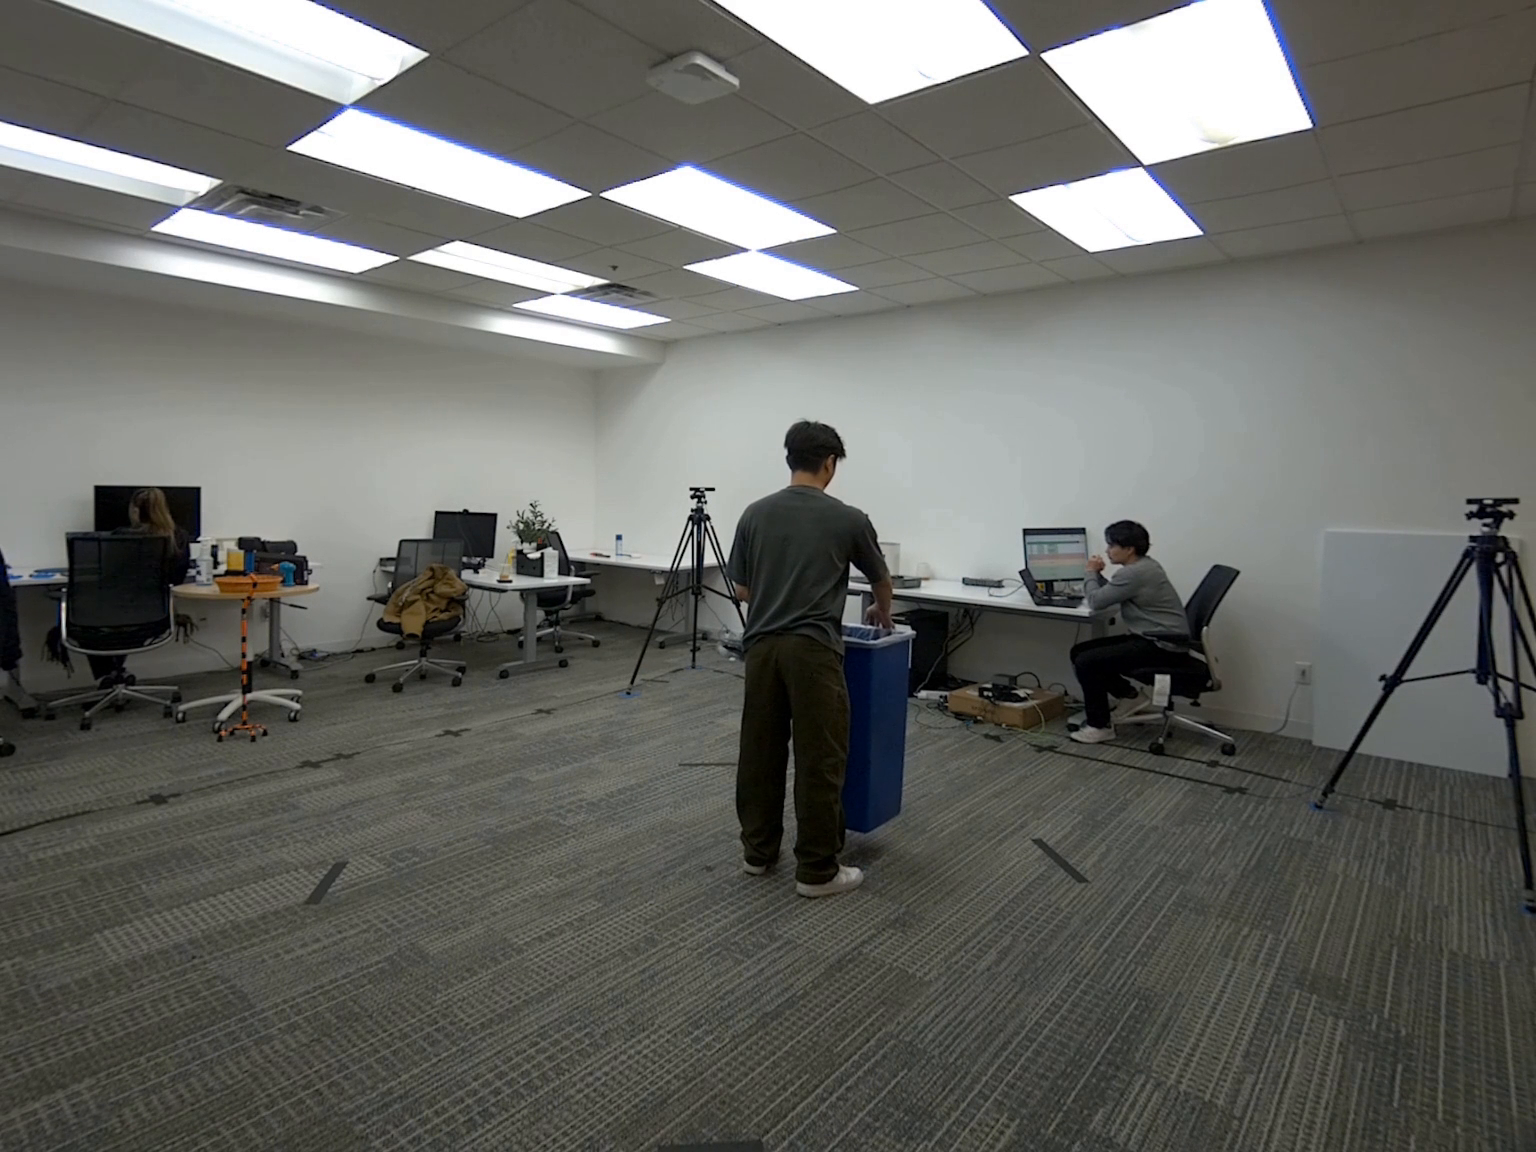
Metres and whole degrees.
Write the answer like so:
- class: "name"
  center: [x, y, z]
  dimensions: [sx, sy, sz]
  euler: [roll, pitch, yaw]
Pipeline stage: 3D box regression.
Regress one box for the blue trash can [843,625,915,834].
- class: "blue trash can"
  center: [0.321, 0.569, 3.296]
  dimensions: [0.390, 0.712, 0.363]
  euler: [2, 2, 36]
